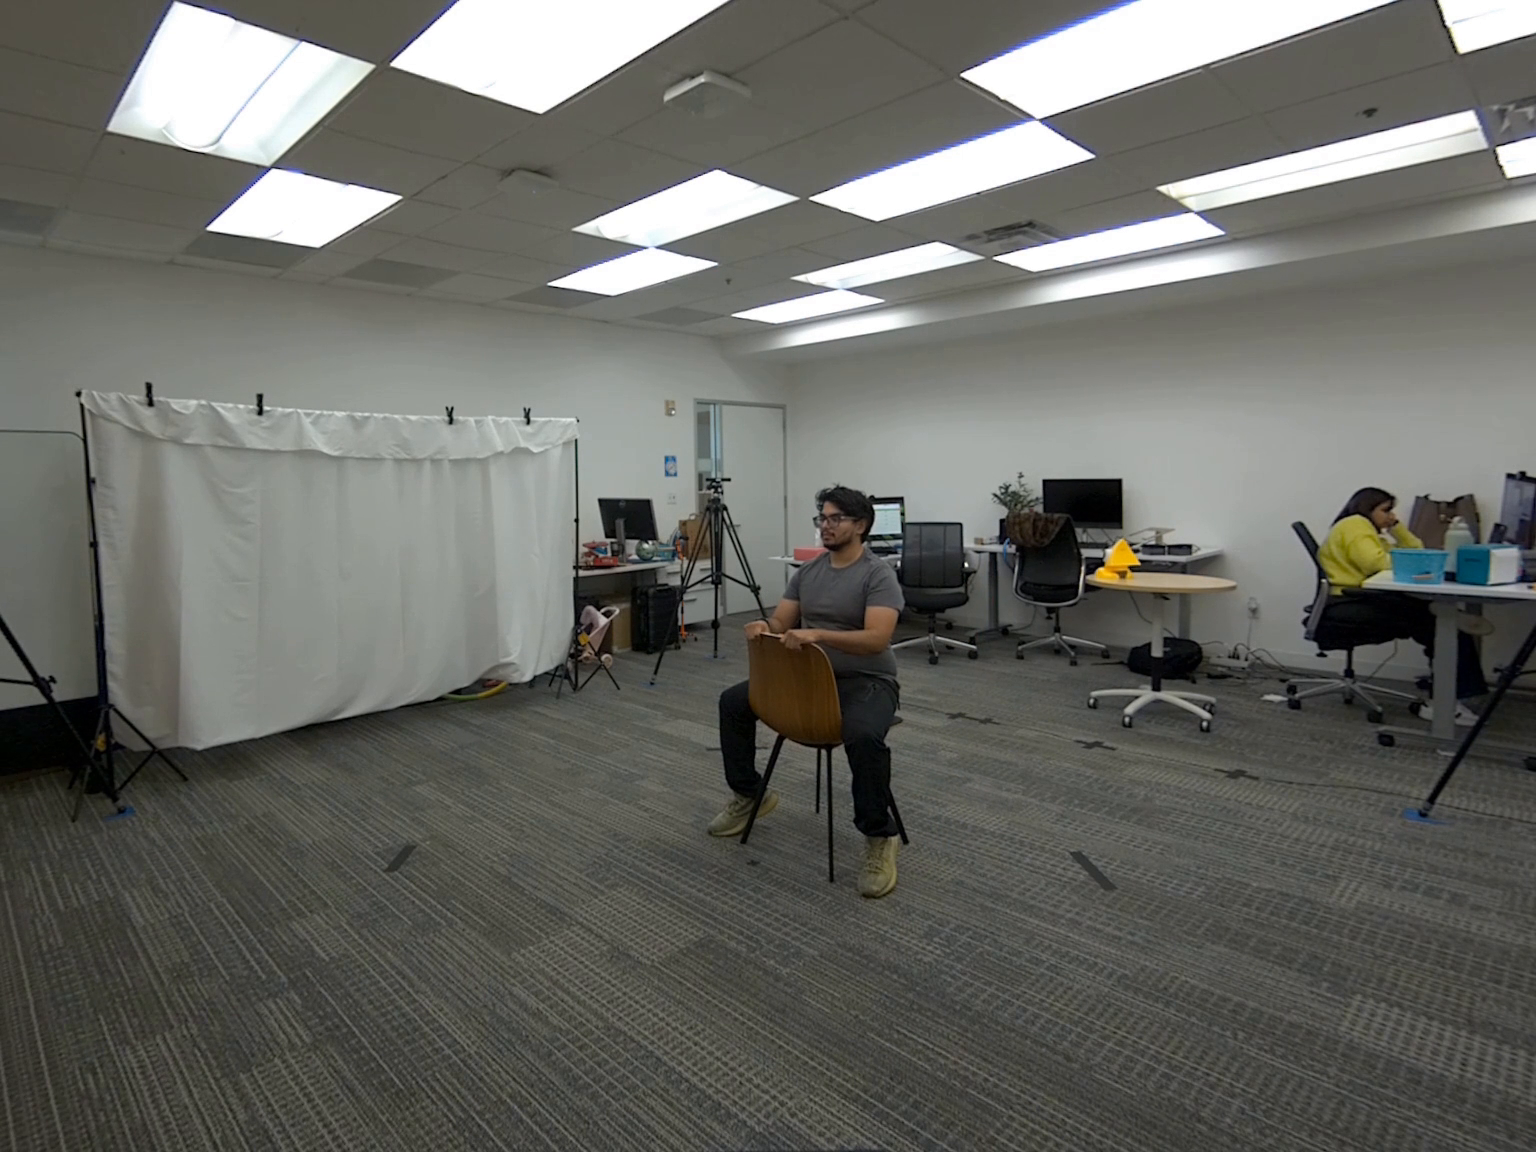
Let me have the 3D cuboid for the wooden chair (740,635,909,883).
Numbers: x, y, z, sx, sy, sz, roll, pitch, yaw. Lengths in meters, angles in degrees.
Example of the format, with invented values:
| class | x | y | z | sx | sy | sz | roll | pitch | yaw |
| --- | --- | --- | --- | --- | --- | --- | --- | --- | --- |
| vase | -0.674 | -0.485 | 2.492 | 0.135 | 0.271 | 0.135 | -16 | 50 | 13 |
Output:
| class | x | y | z | sx | sy | sz | roll | pitch | yaw |
| --- | --- | --- | --- | --- | --- | --- | --- | --- | --- |
| wooden chair | 0.215 | 0.598 | 3.235 | 0.511 | 0.871 | 0.493 | -11 | 10 | -44 |
